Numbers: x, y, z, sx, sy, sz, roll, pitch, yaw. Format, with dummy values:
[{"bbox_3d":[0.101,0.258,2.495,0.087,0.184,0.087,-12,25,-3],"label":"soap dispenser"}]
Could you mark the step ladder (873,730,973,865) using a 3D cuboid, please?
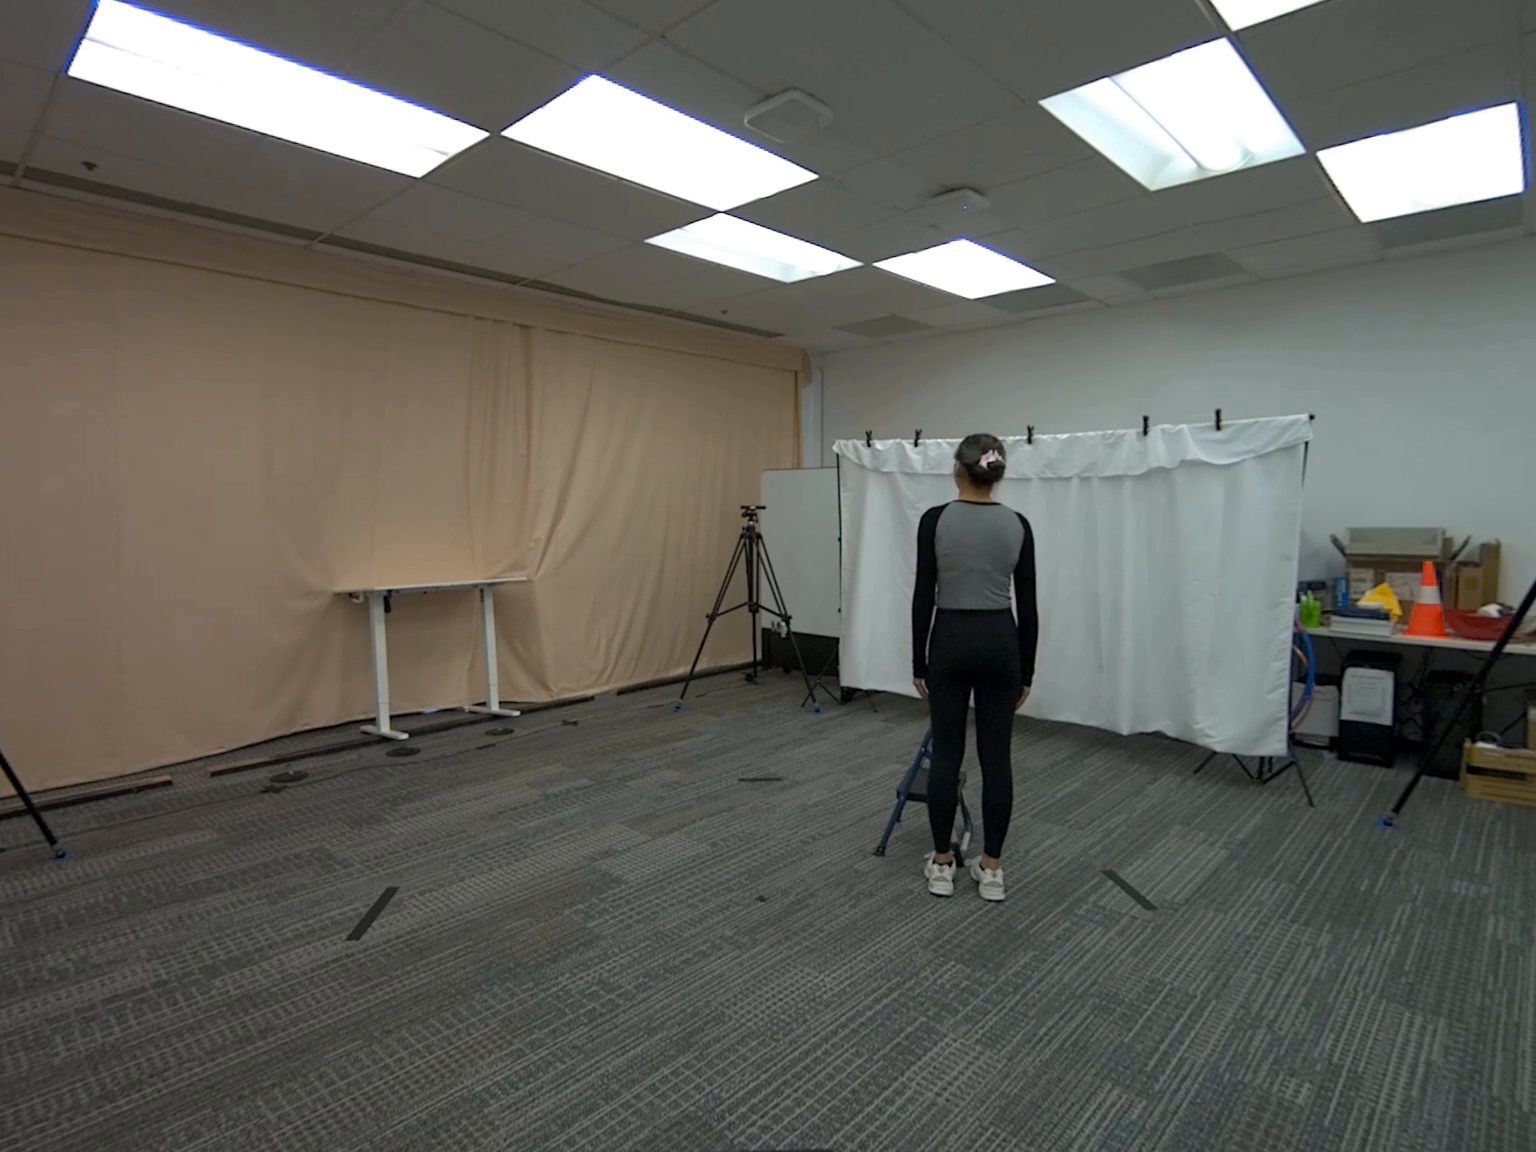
[{"bbox_3d":[0.654,0.803,3.470,0.357,0.604,0.422,1,4,19],"label":"step ladder"}]
